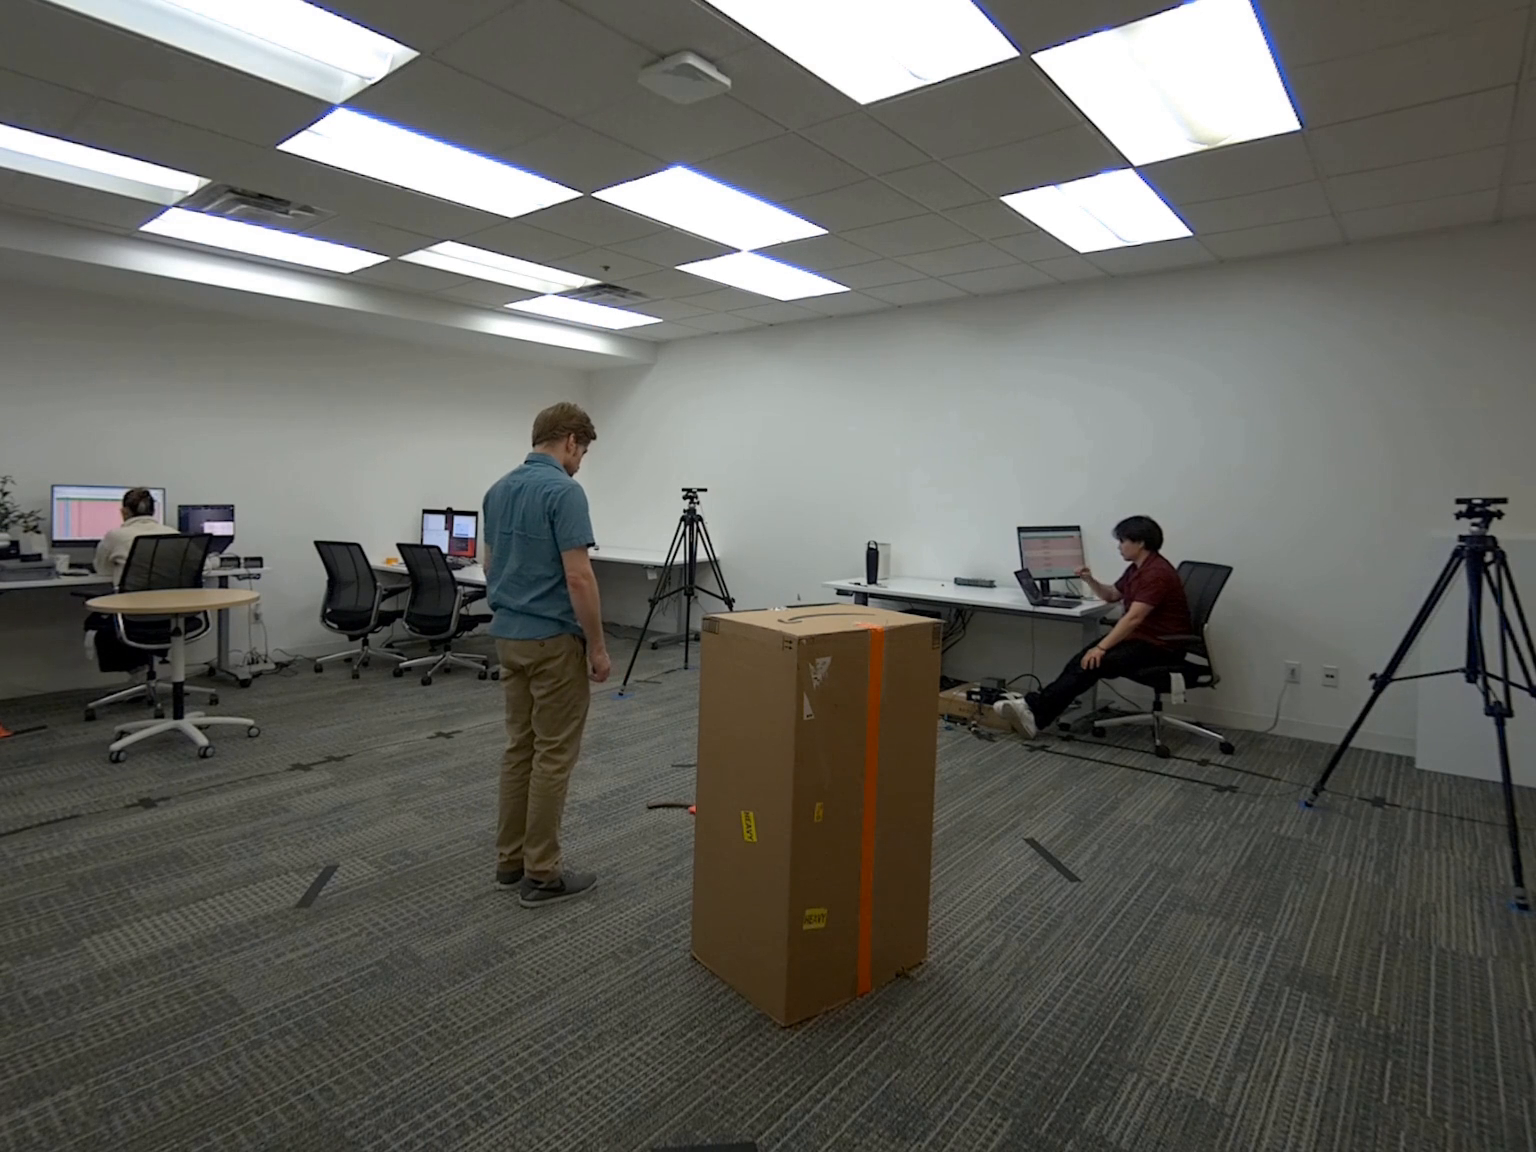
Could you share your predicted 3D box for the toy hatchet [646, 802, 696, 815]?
[{"bbox_3d":[-0.402,1.001,3.680,0.268,0.029,0.133,-2,10,-9],"label":"toy hatchet"}]
